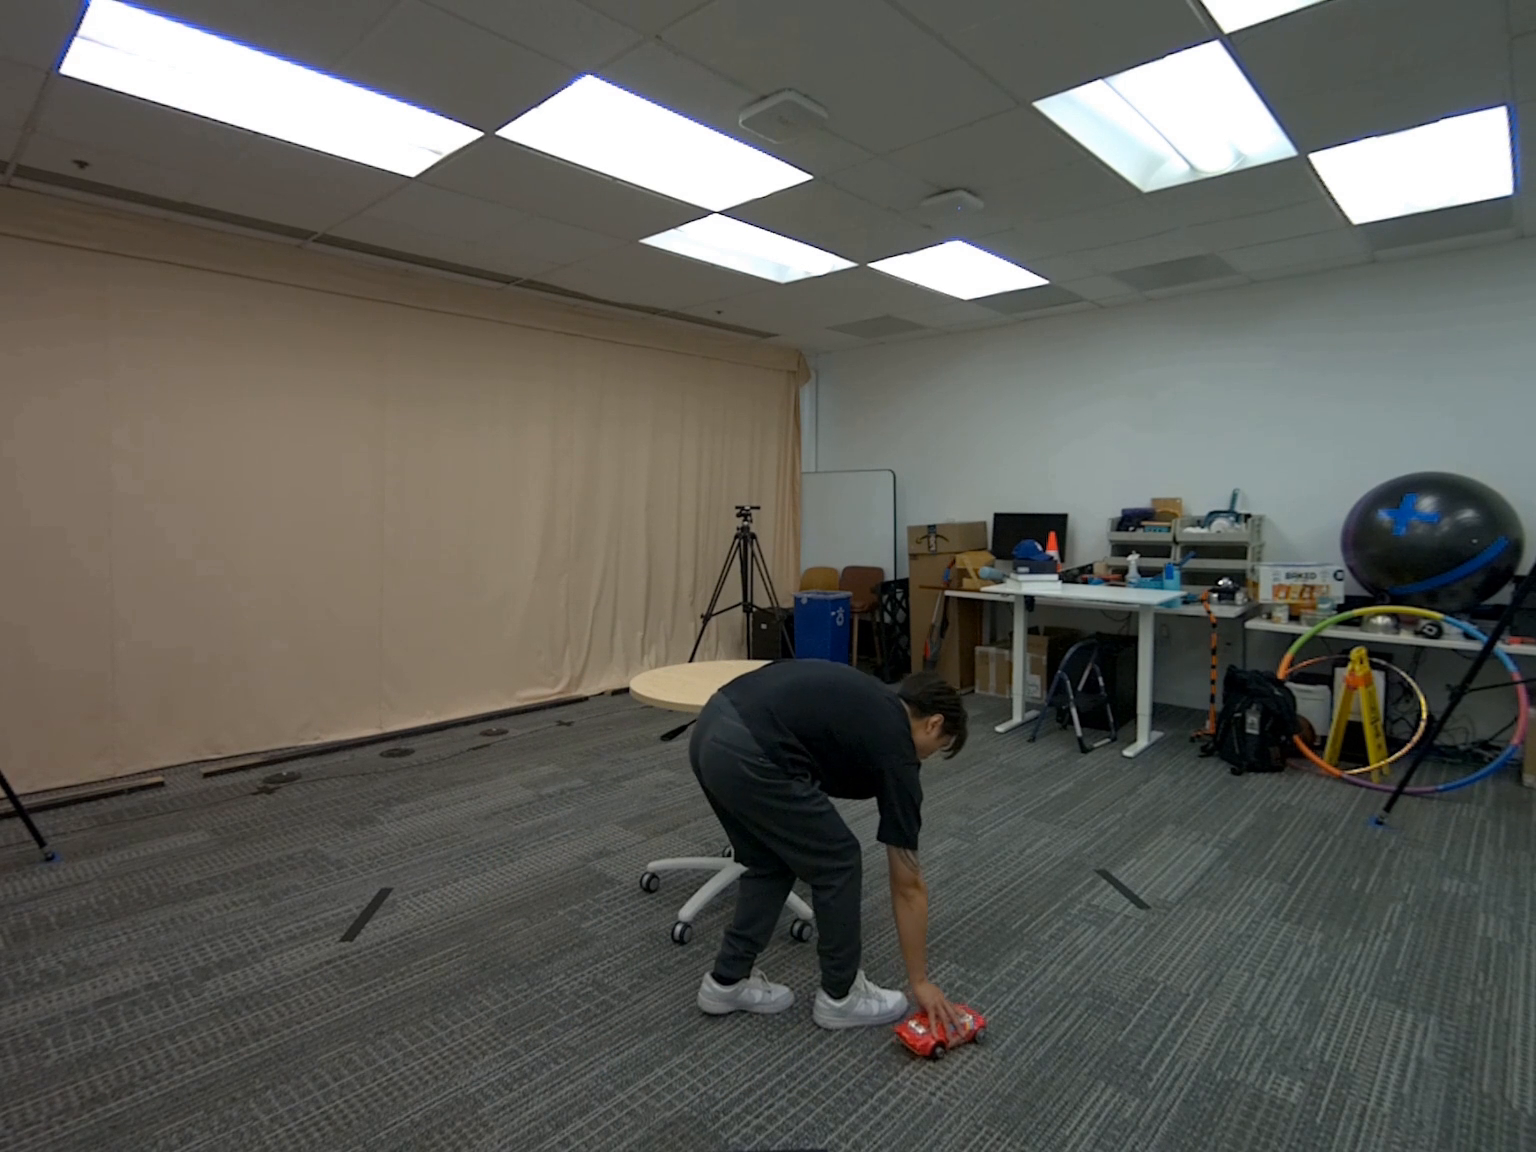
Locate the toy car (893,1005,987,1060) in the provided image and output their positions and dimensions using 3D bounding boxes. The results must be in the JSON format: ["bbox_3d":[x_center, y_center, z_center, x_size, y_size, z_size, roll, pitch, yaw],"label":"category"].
[{"bbox_3d":[0.450,1.184,2.176,0.248,0.083,0.134,10,0,-24],"label":"toy car"}]
